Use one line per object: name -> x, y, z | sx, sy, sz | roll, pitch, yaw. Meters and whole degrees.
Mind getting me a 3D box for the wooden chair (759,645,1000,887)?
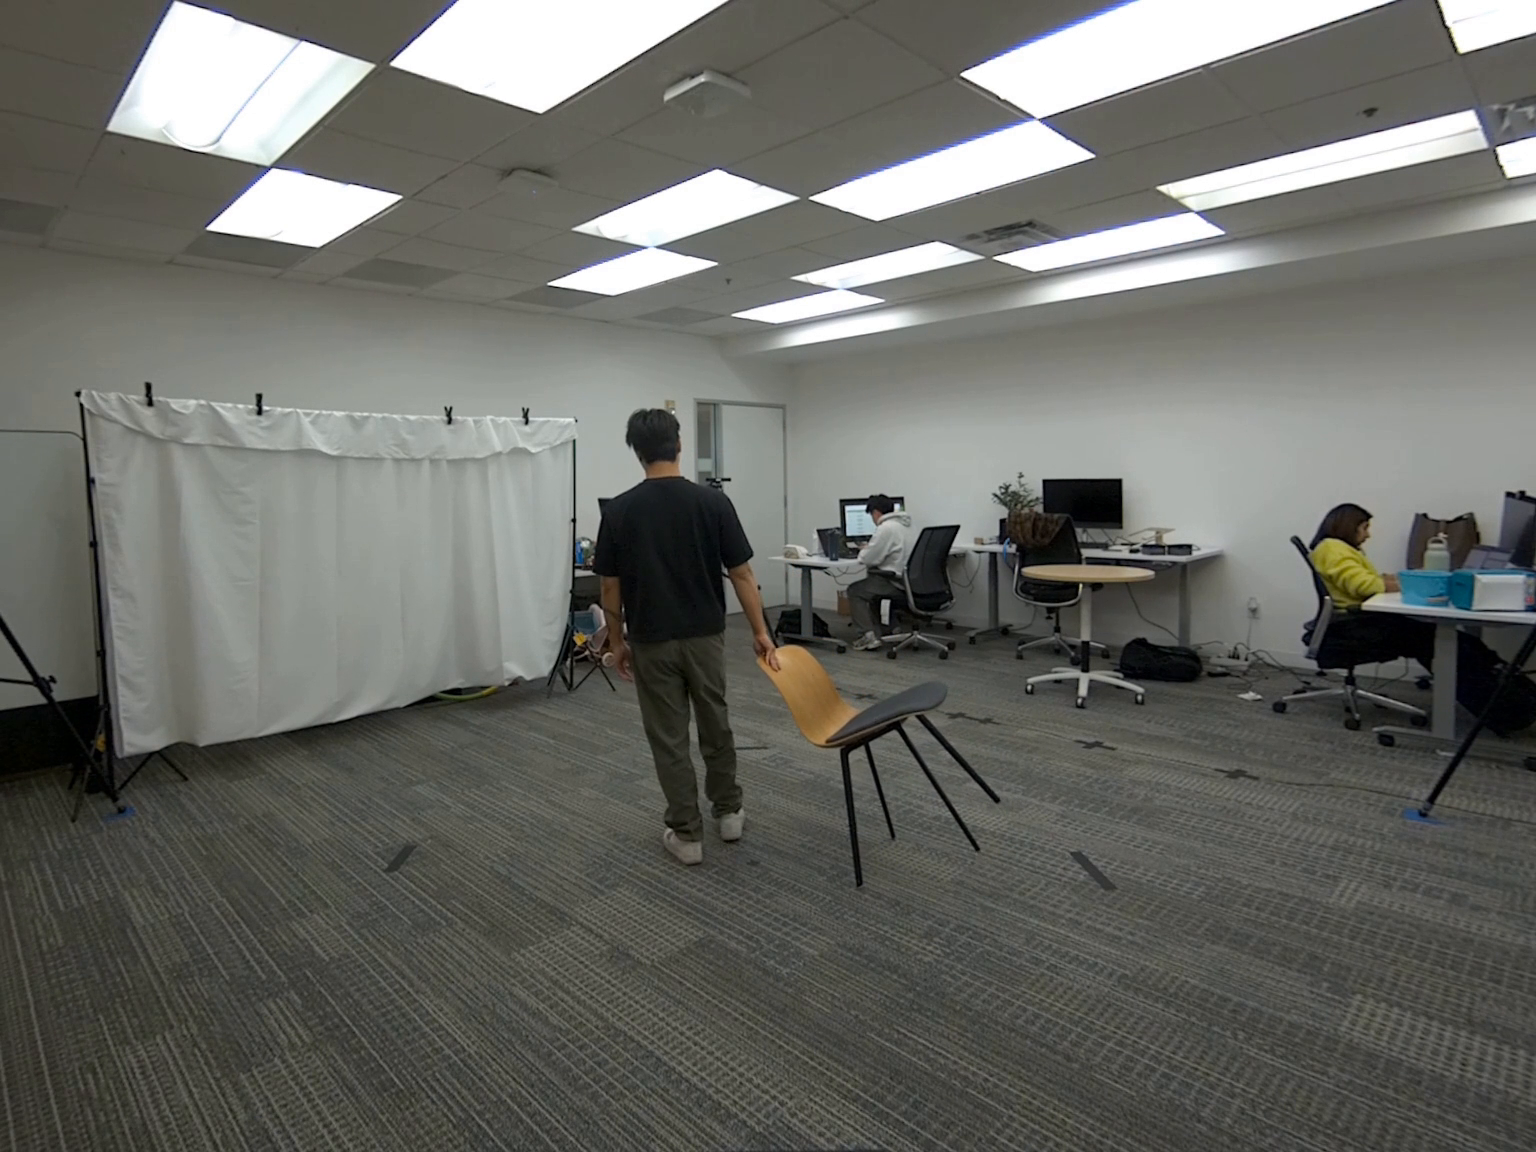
wooden chair -> 0.402, 0.551, 3.063 | 0.527, 0.889, 0.469 | -33, -10, 25
